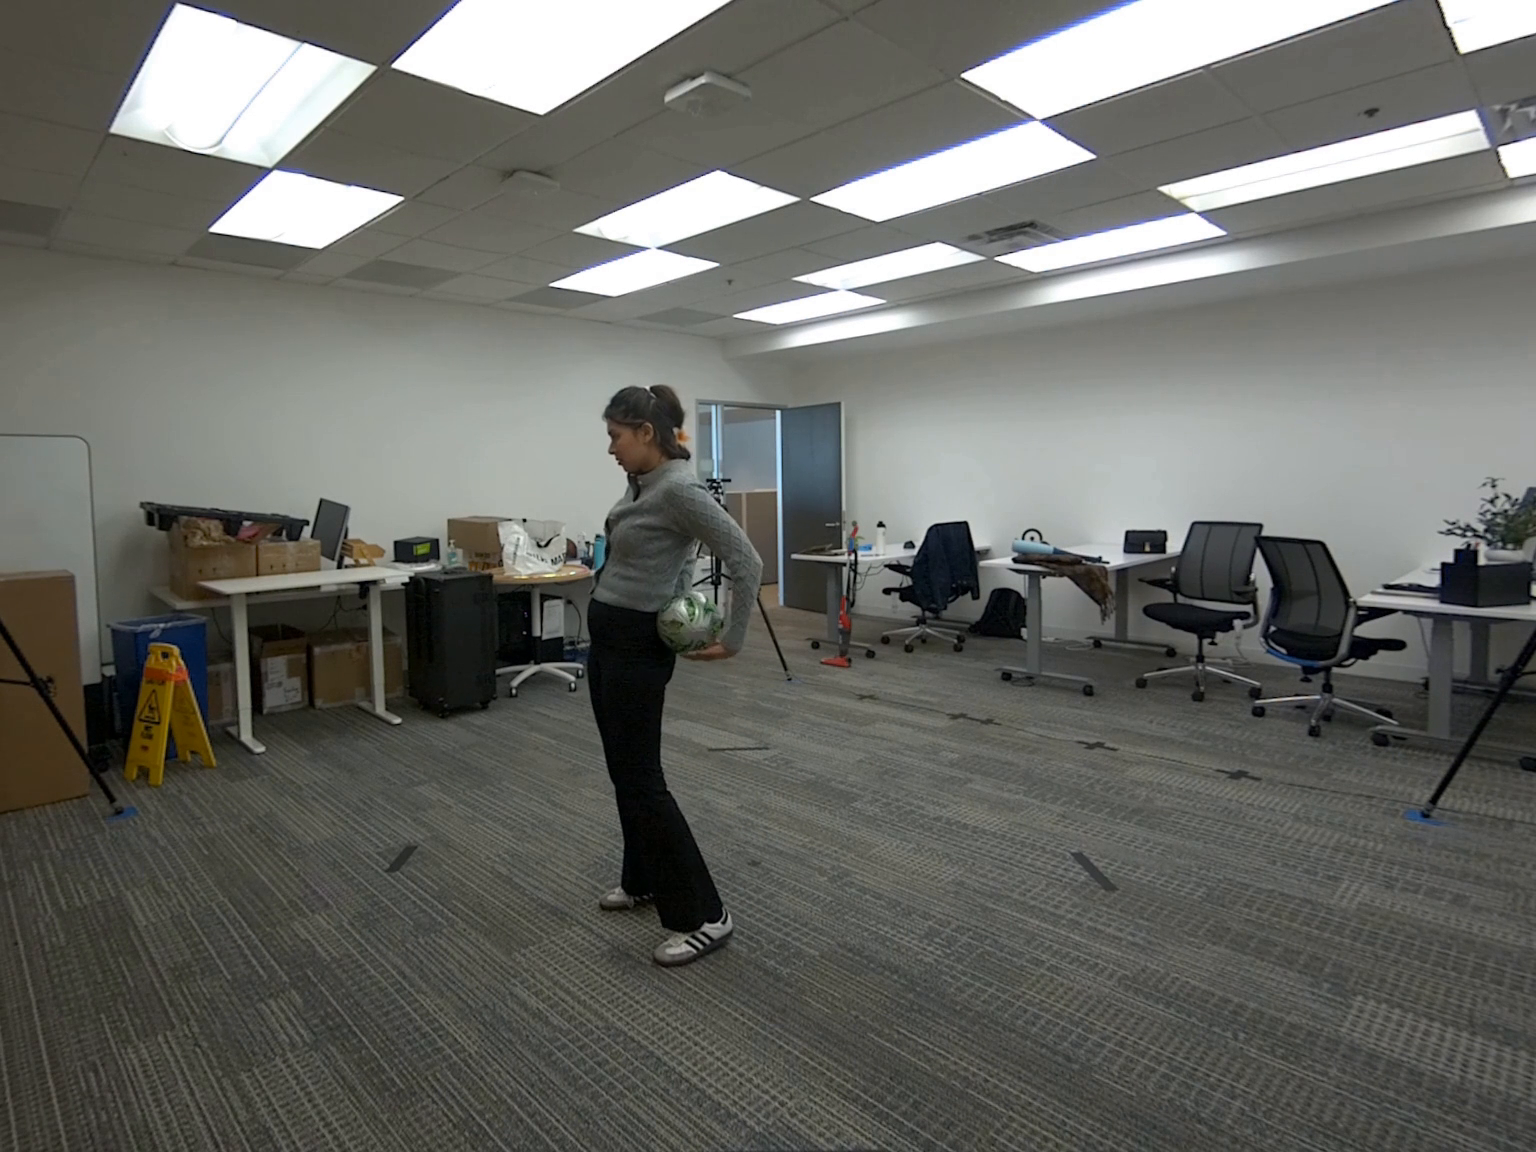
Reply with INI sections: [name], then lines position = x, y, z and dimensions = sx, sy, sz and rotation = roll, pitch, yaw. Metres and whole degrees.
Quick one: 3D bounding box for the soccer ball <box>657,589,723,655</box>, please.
[soccer ball]
position = -0.224, 0.127, 2.485
dimensions = 0.187, 0.187, 0.188
rotation = -1, 5, -2
